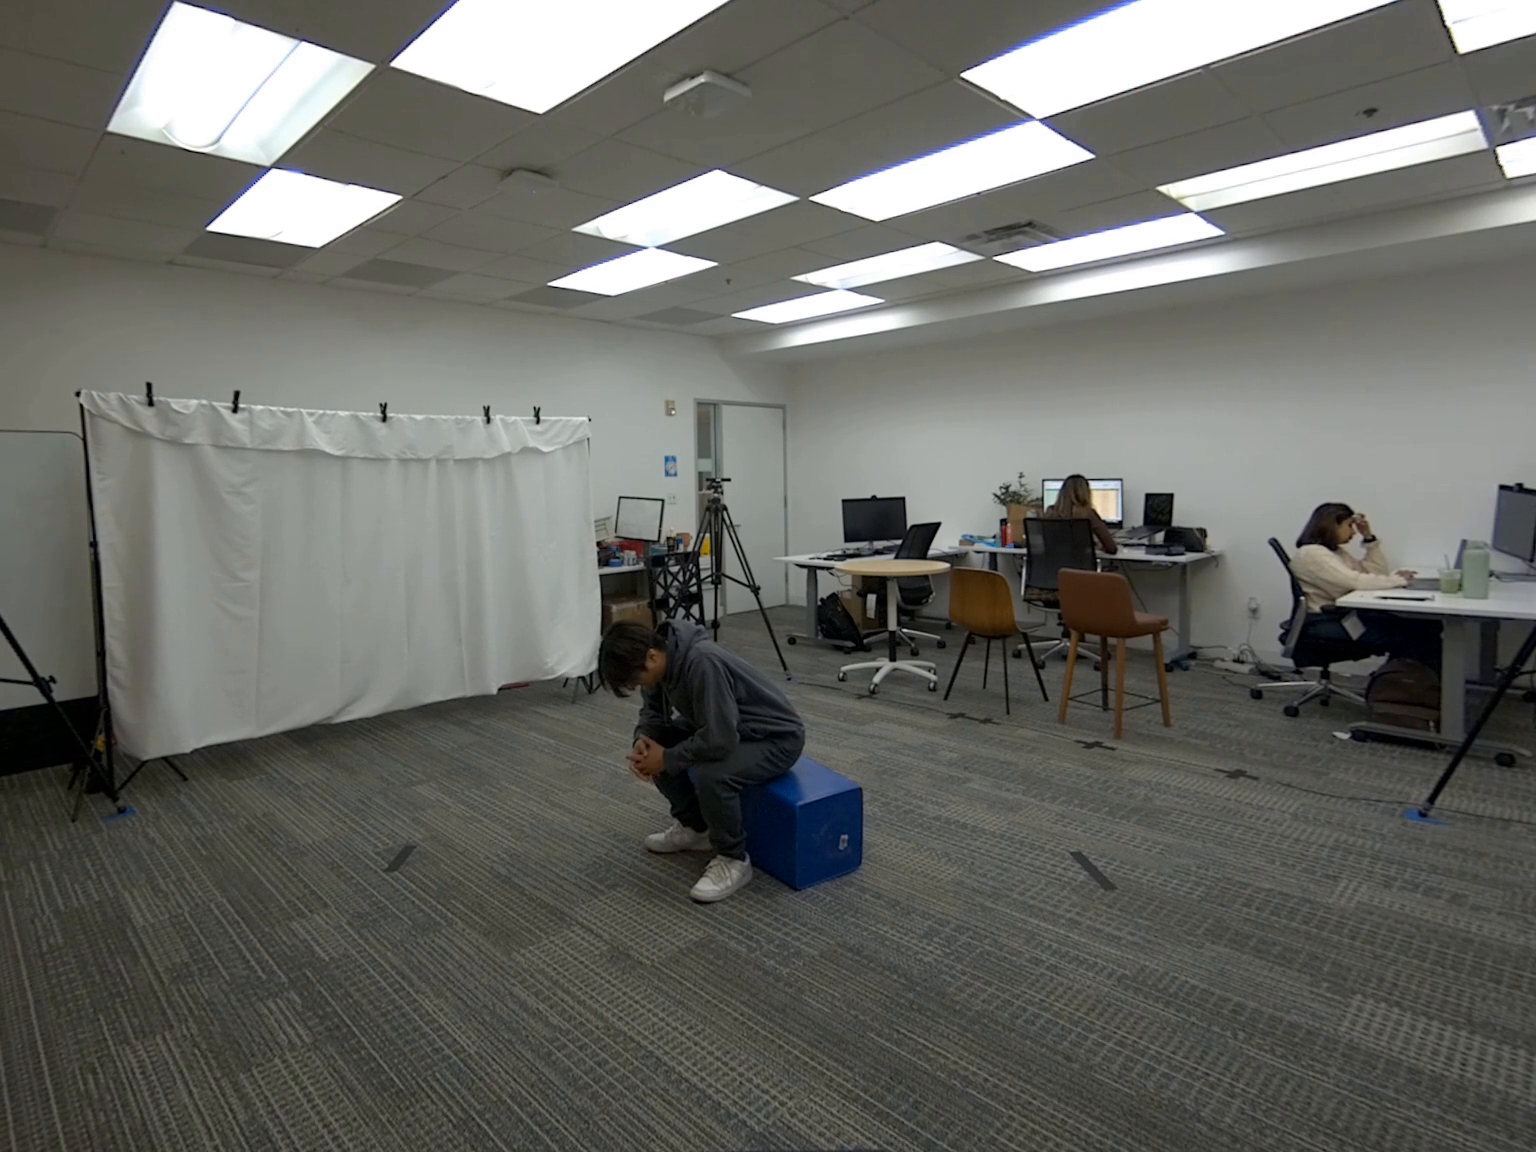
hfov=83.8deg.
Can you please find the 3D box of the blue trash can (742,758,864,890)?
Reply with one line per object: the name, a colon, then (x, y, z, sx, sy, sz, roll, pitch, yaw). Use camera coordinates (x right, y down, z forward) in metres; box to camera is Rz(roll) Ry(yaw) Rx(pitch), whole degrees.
blue trash can: (0.014, 0.858, 3.248, 0.365, 0.375, 0.737, -4, 10, -35)
